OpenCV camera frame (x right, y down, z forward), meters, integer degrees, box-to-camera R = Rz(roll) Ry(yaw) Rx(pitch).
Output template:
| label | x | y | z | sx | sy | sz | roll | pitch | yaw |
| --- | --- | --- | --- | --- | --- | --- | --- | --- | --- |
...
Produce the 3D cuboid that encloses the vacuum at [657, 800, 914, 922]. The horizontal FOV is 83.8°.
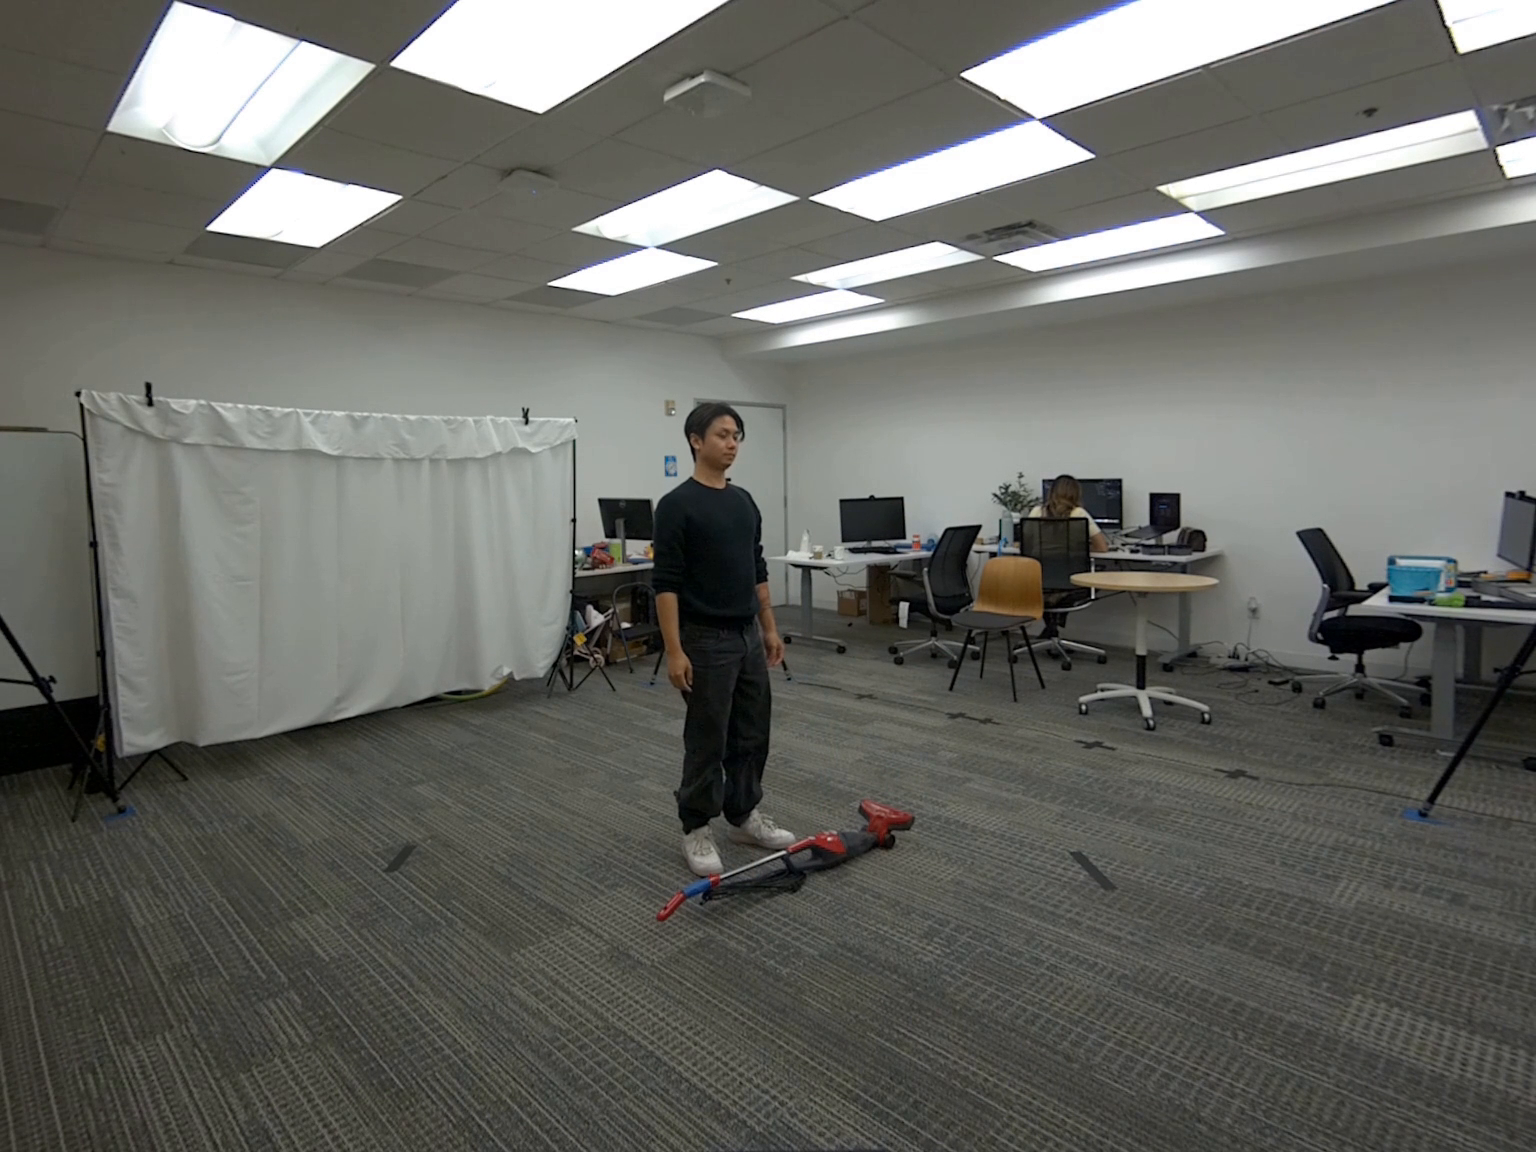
| label | x | y | z | sx | sy | sz | roll | pitch | yaw |
| --- | --- | --- | --- | --- | --- | --- | --- | --- | --- |
| vacuum | 0.061 | 0.995 | 2.926 | 1.023 | 0.143 | 0.260 | -8 | 6 | -41 |
